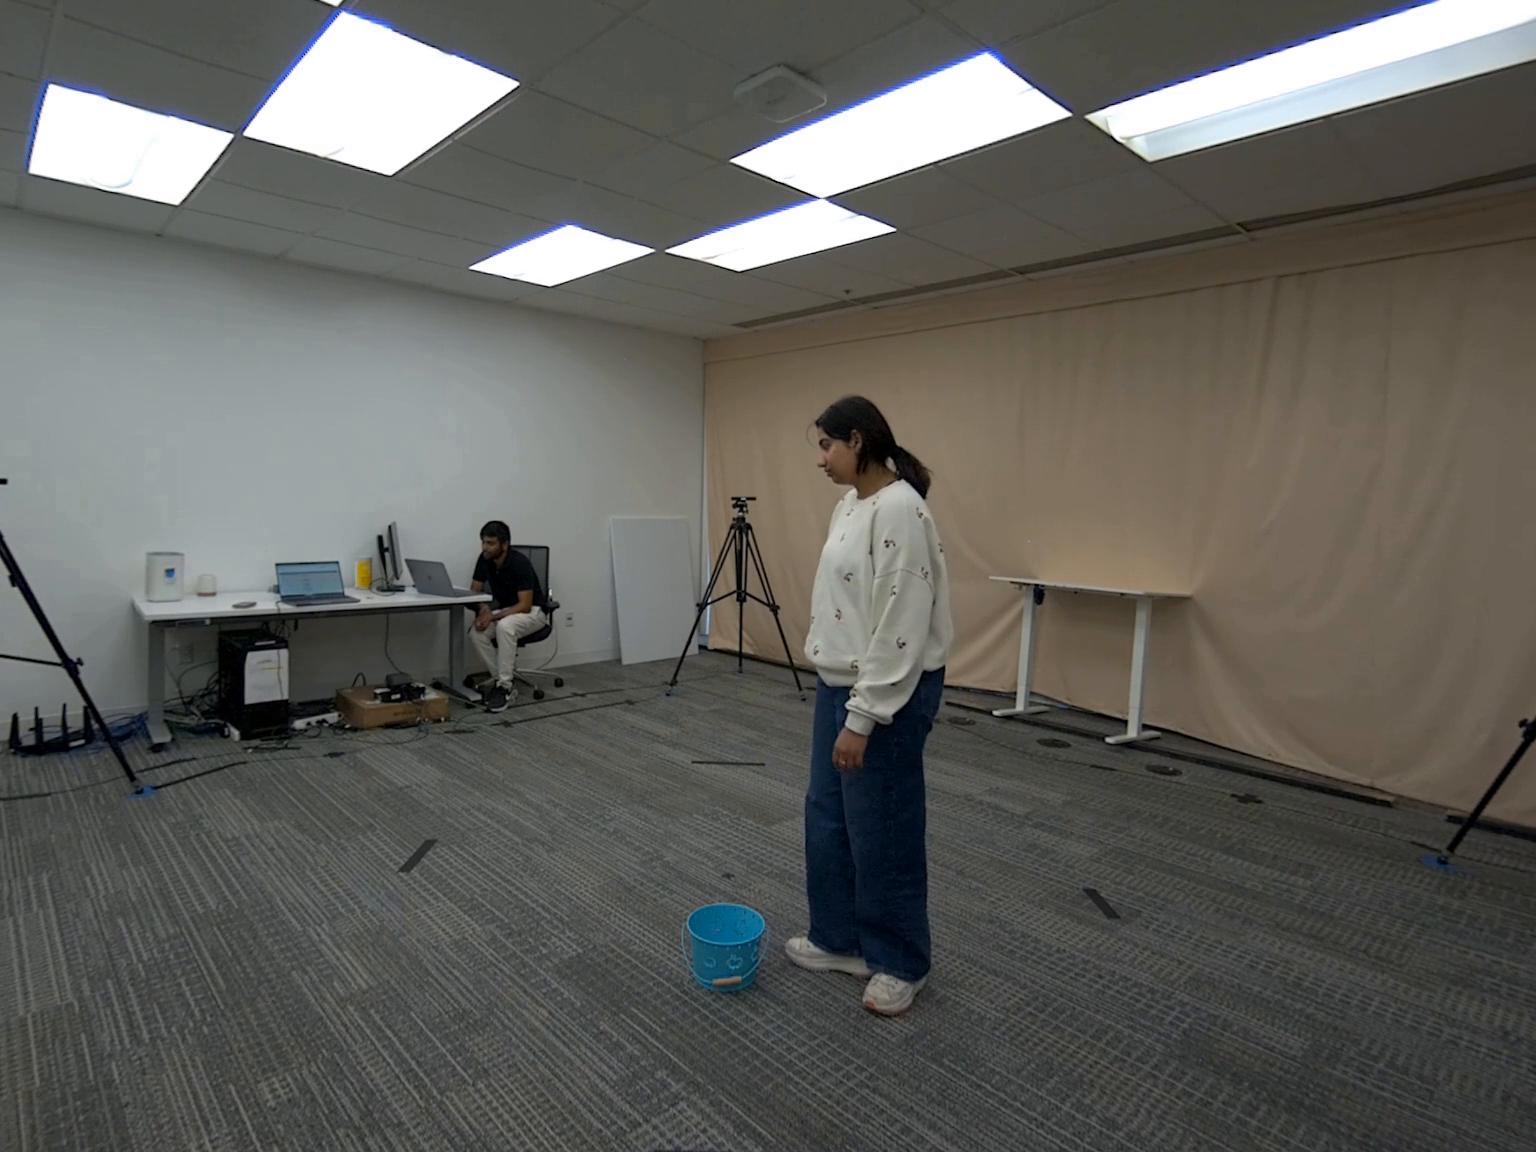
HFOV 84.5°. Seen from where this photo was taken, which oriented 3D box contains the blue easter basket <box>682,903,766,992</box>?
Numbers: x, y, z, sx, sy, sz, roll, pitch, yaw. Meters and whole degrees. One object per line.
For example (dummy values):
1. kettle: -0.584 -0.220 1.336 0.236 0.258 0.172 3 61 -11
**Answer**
1. blue easter basket: -0.132 1.082 2.470 0.243 0.155 0.244 2 5 -2
